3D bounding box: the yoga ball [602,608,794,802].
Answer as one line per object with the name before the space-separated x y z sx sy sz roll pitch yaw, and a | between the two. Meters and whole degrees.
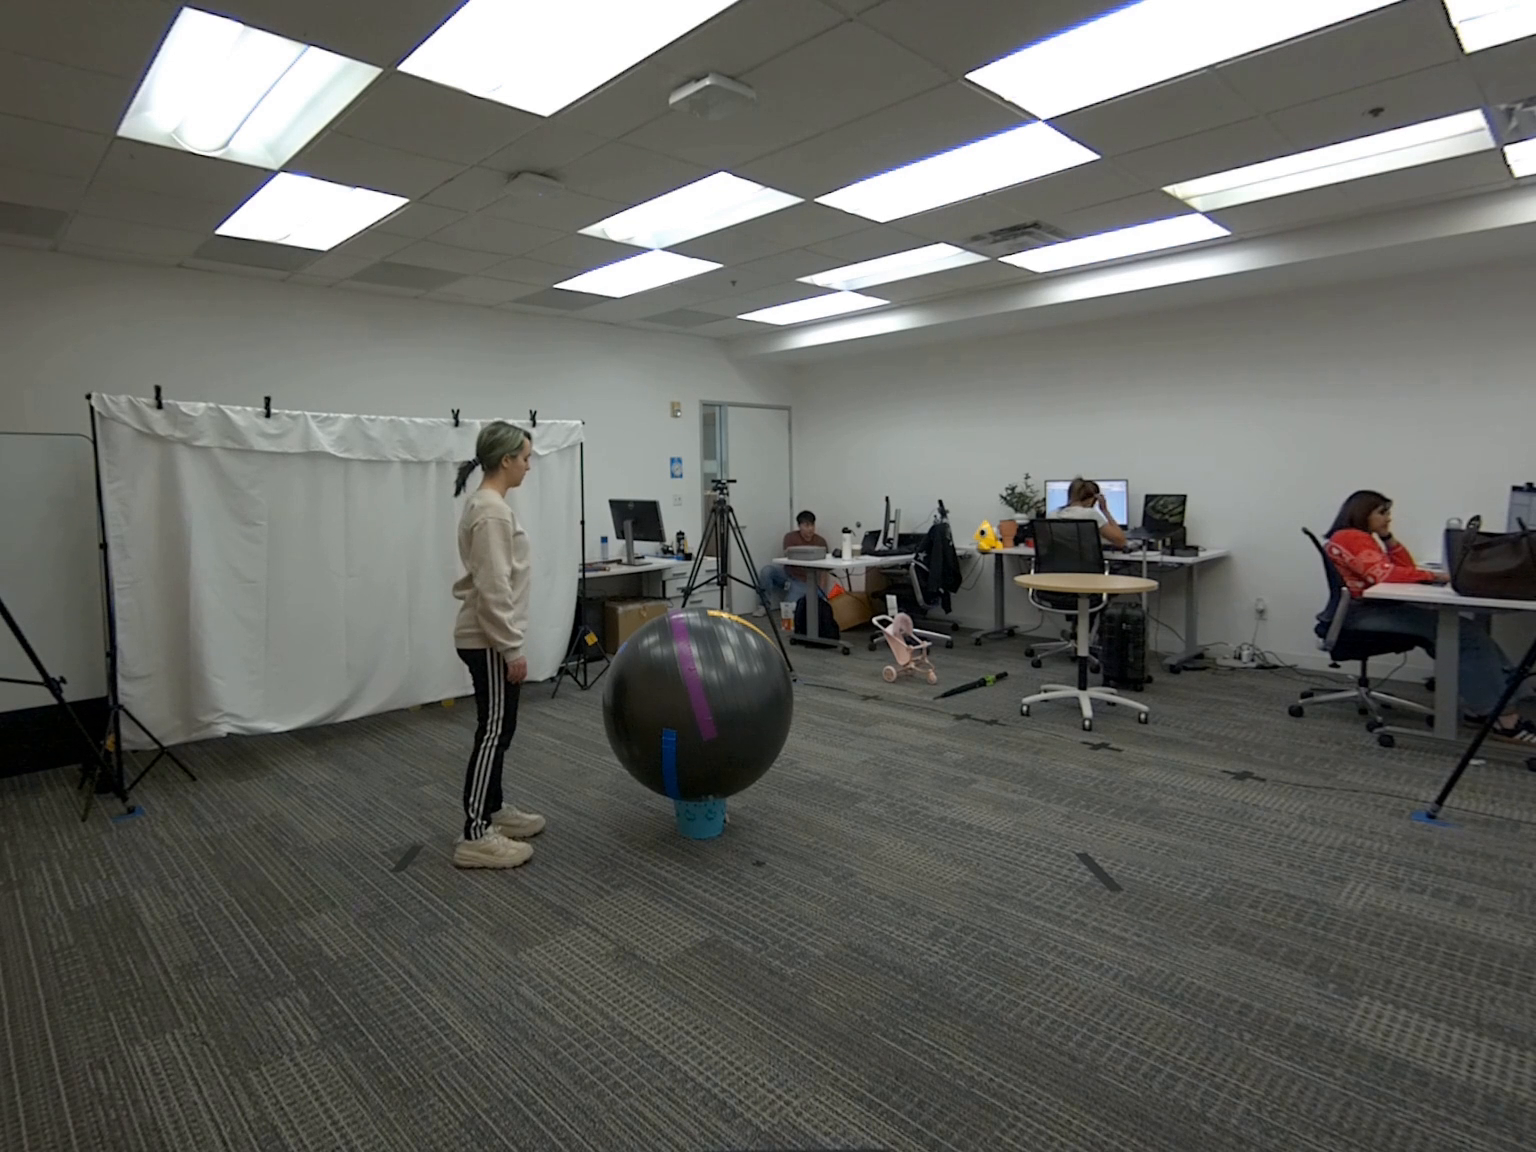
yoga ball | -0.277 0.505 3.402 0.757 0.755 0.762 -1 5 -2
